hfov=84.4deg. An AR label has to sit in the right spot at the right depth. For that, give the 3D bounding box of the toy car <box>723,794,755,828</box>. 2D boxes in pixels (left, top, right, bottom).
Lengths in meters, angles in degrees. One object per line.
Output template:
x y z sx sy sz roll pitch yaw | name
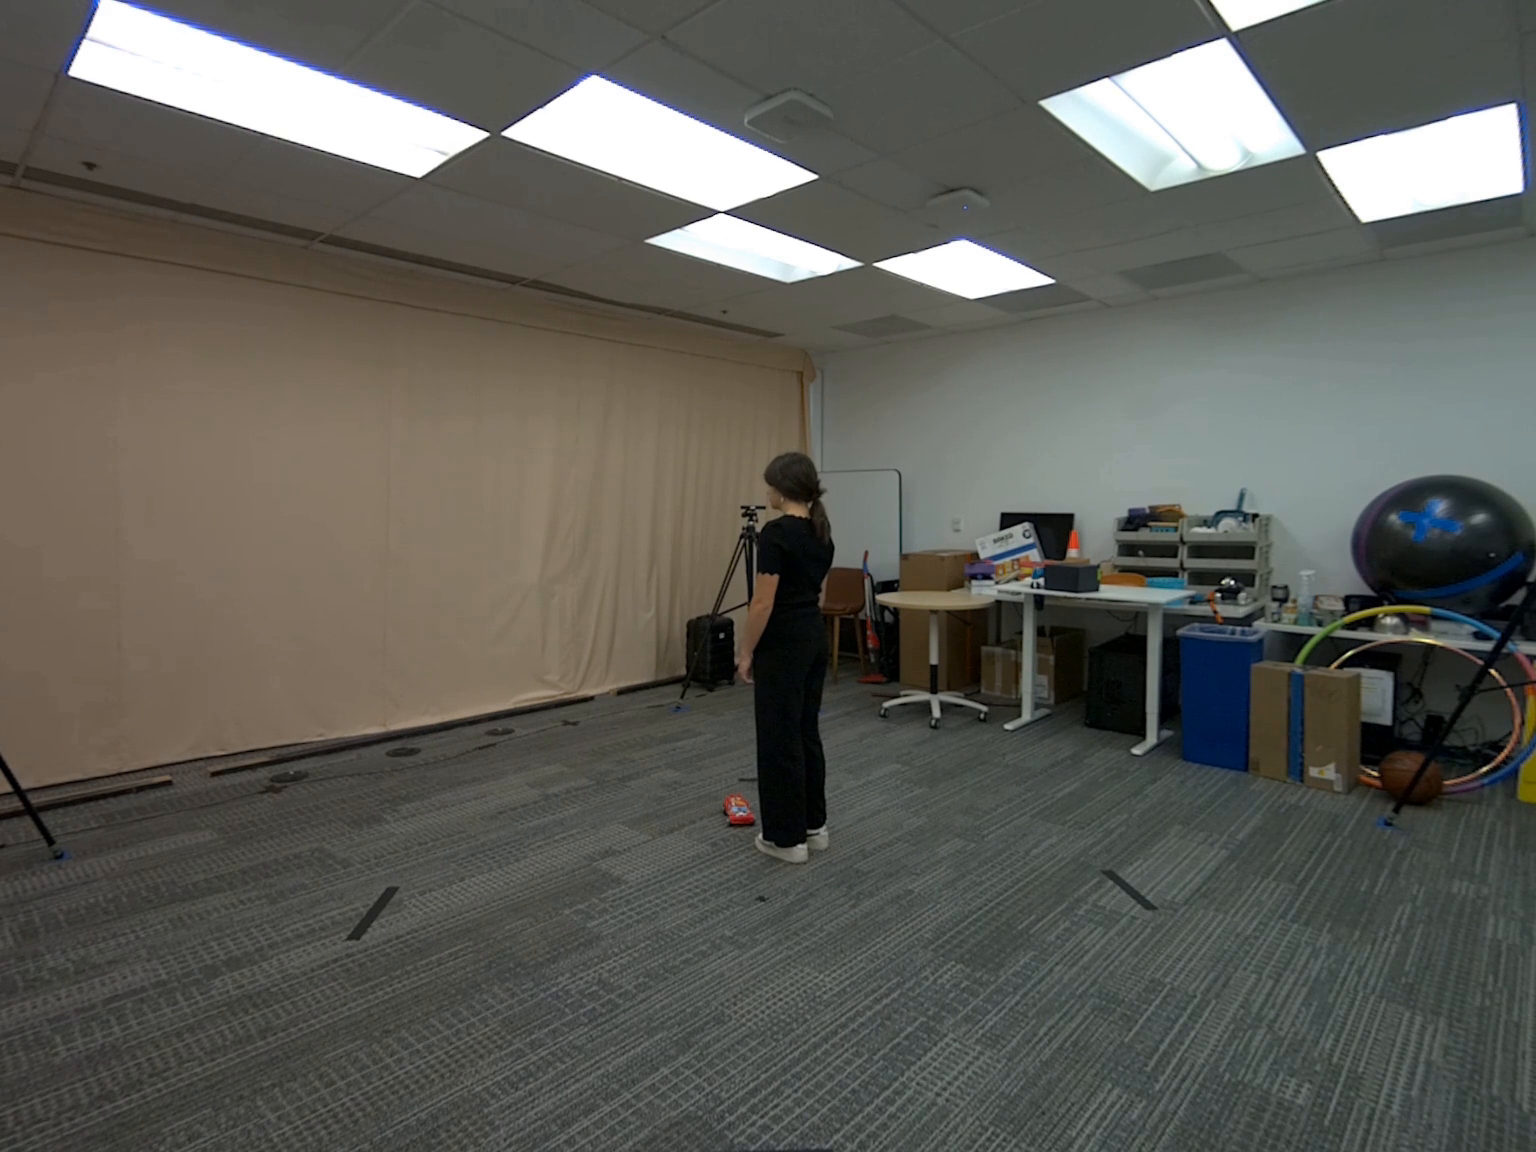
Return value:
-0.135 1.049 3.769 0.129 0.082 0.259 -1 15 -9 | toy car
